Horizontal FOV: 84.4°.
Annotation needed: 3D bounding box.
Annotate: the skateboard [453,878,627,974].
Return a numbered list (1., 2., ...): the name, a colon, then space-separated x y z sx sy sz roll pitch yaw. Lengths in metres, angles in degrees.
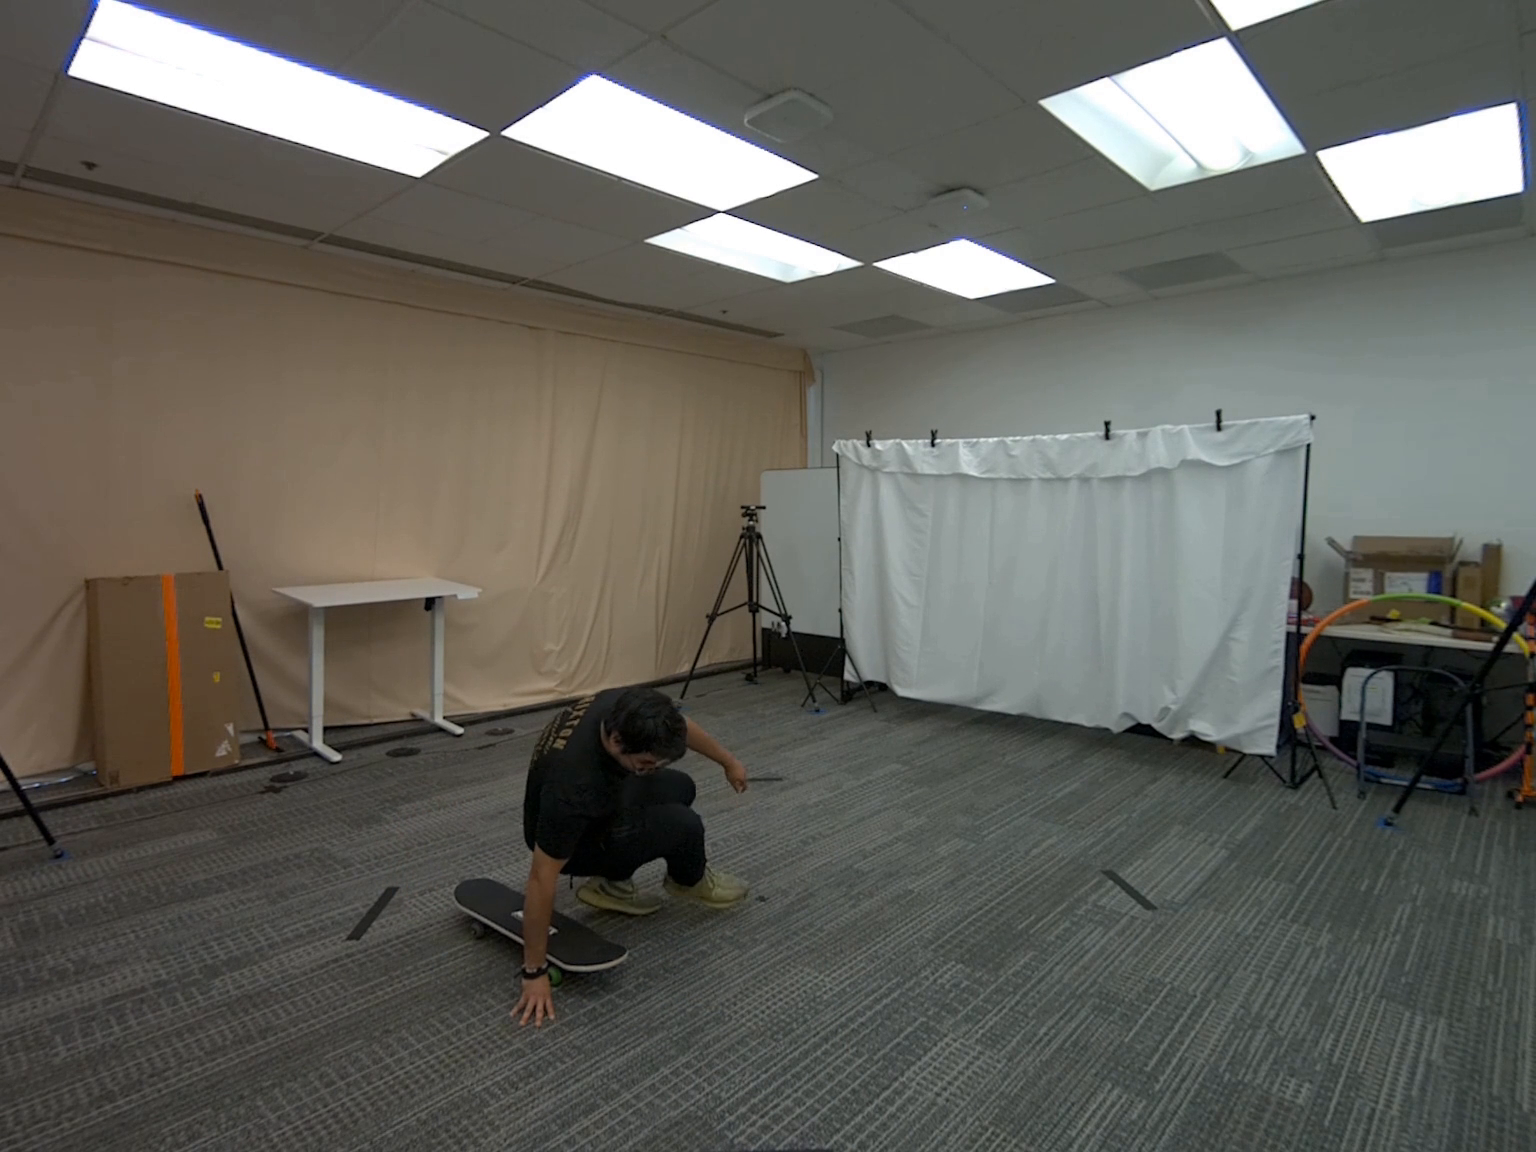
1. skateboard: -0.733 1.123 2.646 0.811 0.110 0.187 3 3 41
